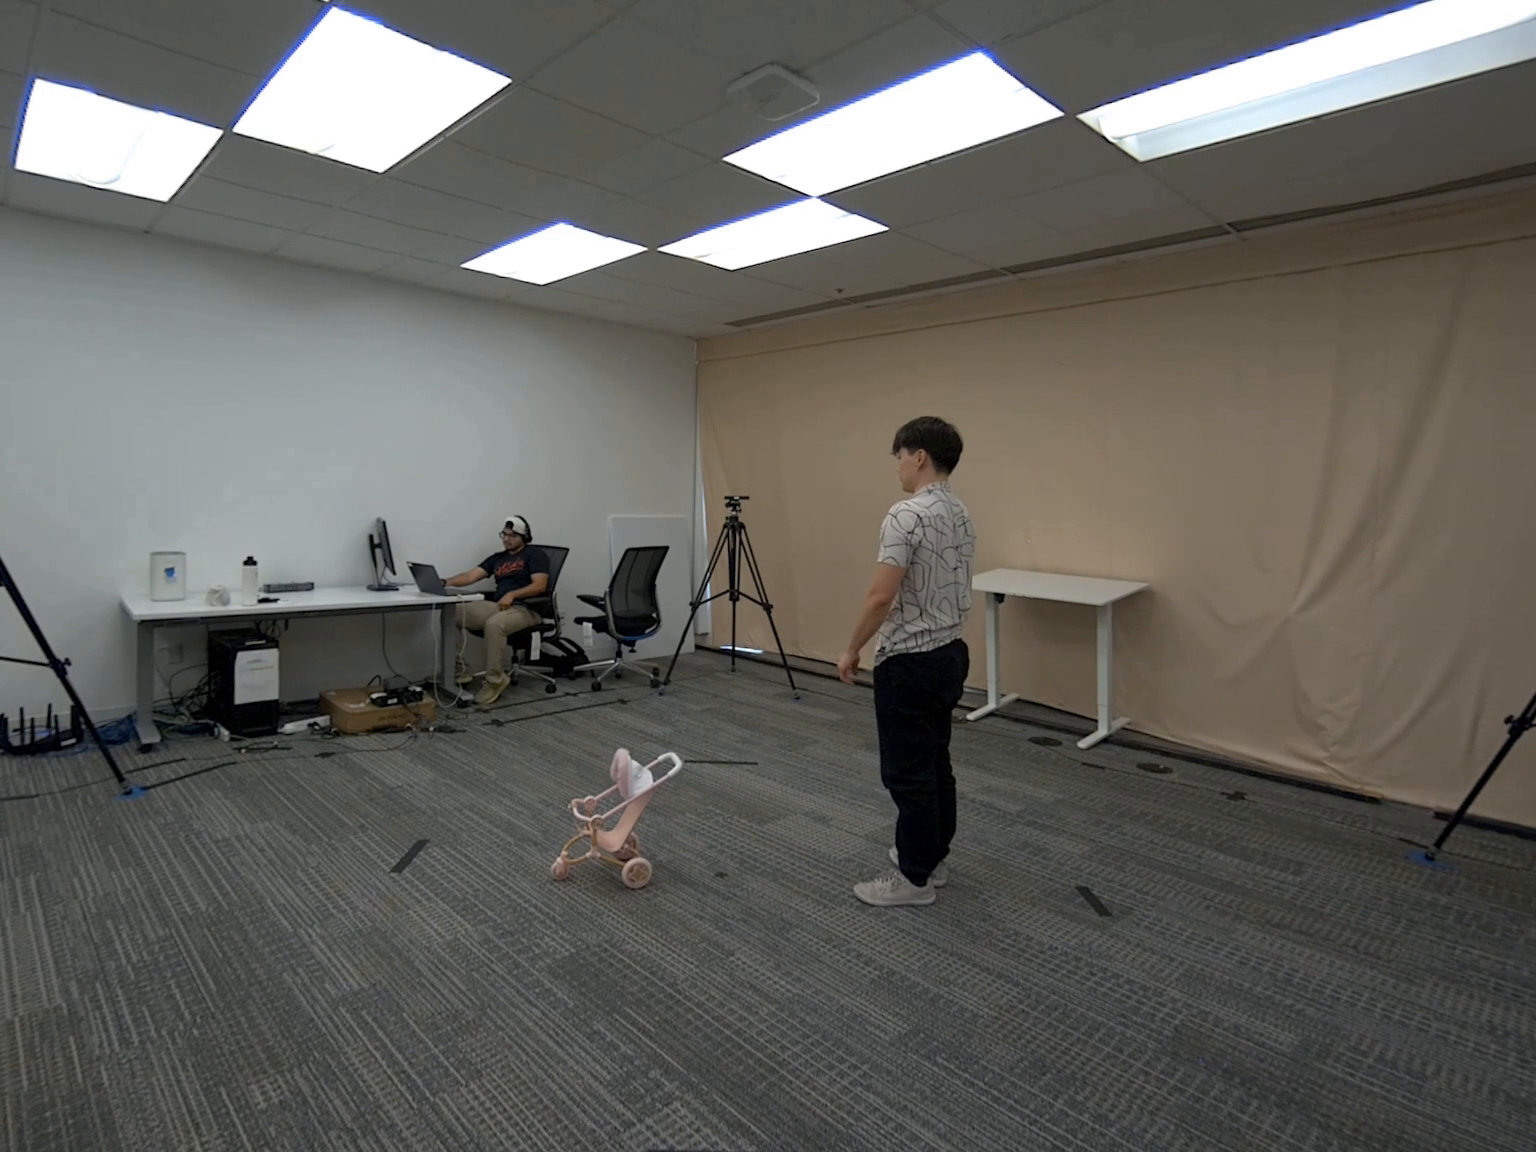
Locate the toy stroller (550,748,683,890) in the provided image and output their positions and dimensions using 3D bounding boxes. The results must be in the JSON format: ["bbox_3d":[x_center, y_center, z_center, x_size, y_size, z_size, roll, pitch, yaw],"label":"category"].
[{"bbox_3d":[-0.561,0.870,3.078,0.337,0.535,0.285,18,0,-14],"label":"toy stroller"}]
